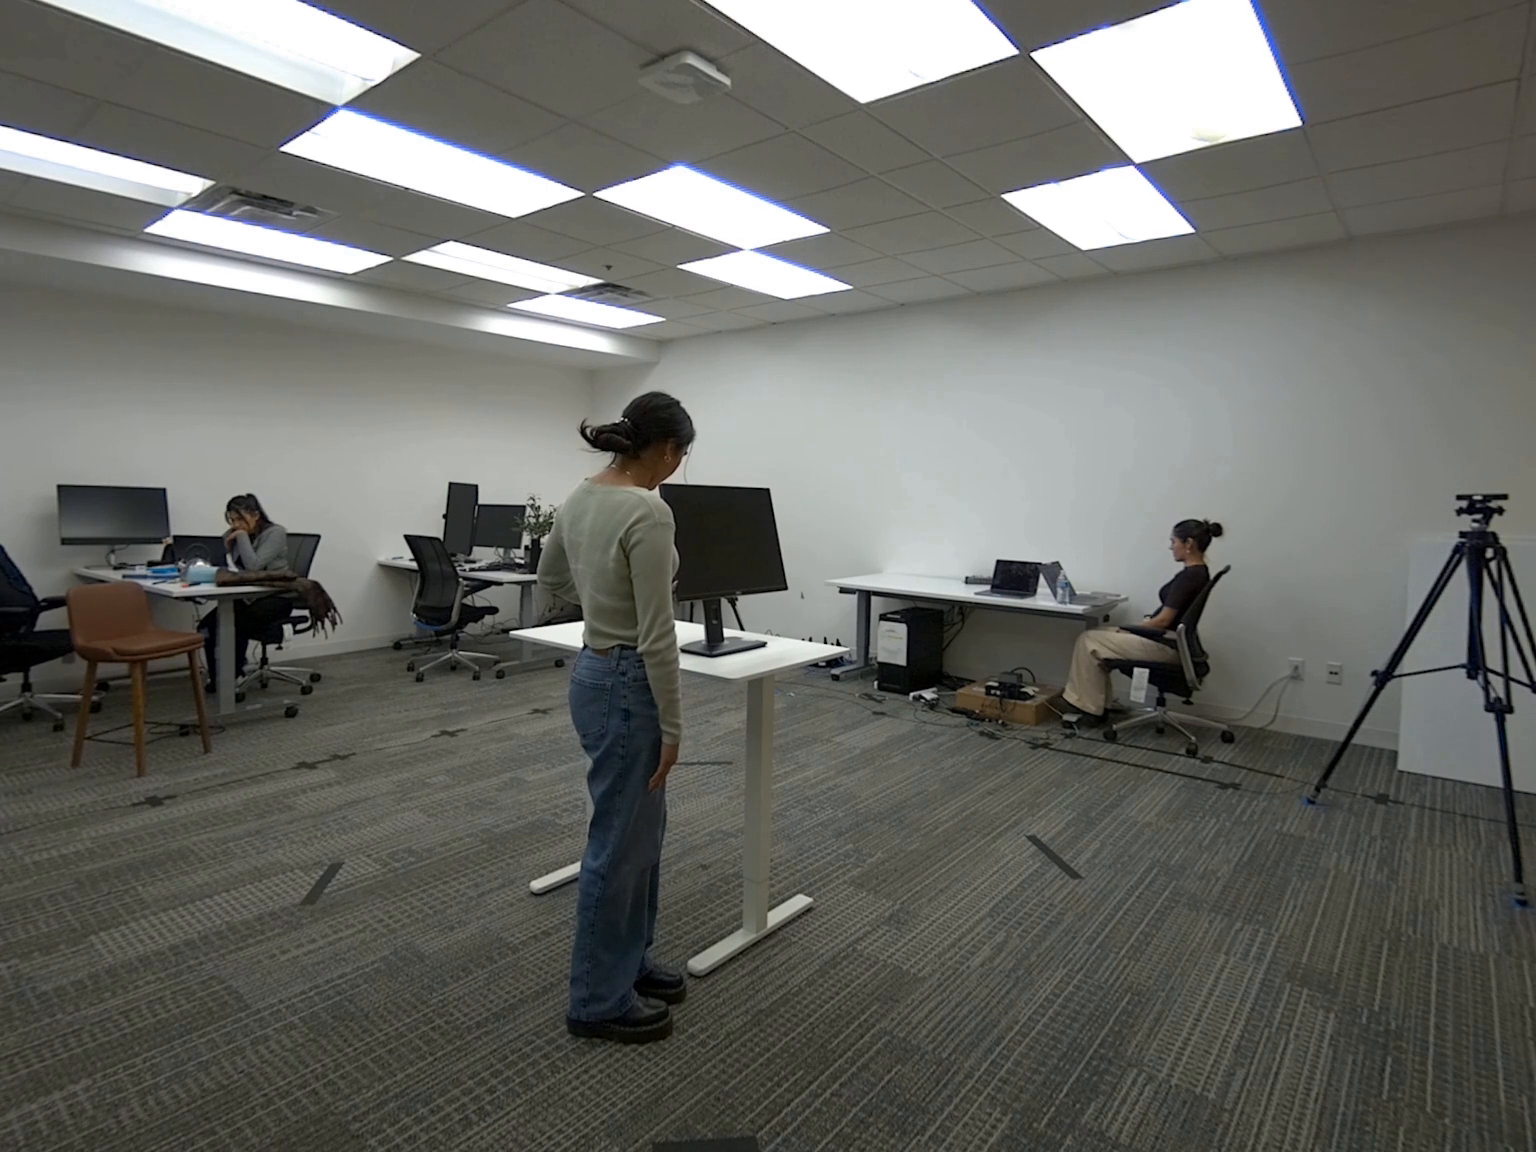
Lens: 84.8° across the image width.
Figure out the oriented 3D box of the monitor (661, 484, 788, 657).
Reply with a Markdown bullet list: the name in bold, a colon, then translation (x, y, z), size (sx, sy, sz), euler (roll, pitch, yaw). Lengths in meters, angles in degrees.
- **monitor**: translation (-0.159, -0.024, 2.694), size (0.193, 0.522, 0.523), euler (0, 2, 37)
